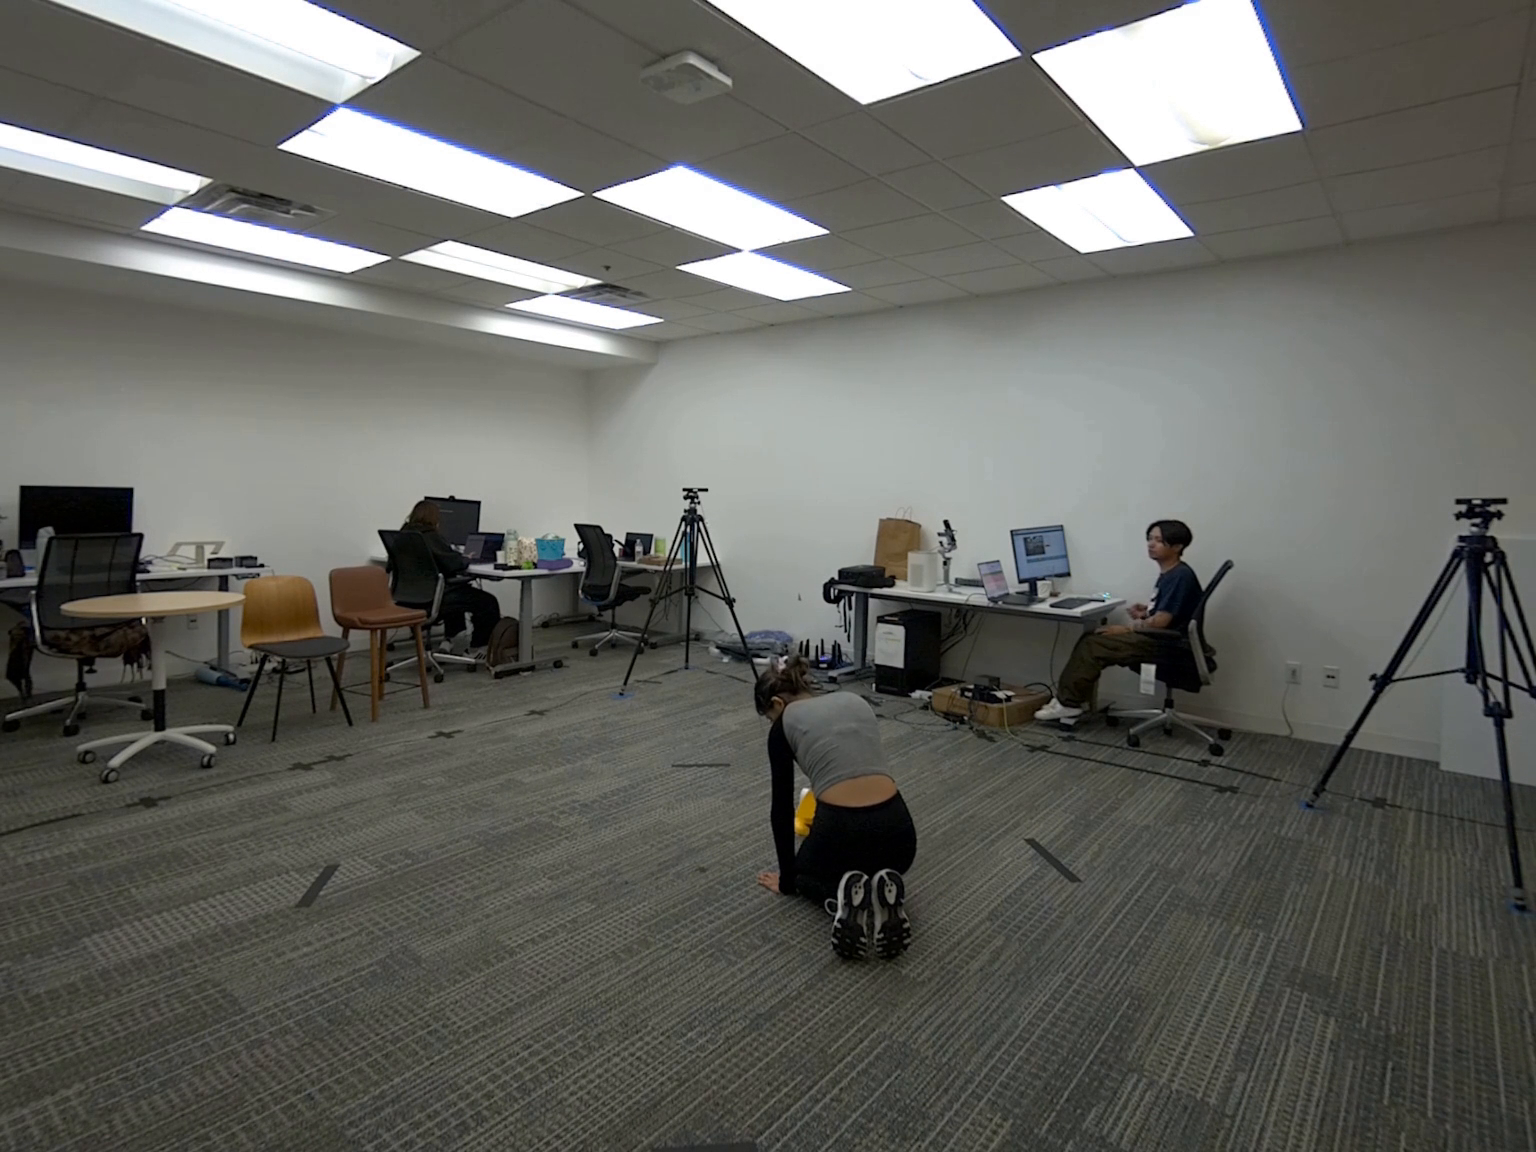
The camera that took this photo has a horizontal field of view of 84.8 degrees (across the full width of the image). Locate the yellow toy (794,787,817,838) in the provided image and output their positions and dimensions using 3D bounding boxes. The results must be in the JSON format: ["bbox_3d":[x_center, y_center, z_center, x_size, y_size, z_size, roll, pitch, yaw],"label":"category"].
[{"bbox_3d":[0.200,0.924,3.498,0.205,0.230,0.193,1,5,1],"label":"yellow toy"}]
